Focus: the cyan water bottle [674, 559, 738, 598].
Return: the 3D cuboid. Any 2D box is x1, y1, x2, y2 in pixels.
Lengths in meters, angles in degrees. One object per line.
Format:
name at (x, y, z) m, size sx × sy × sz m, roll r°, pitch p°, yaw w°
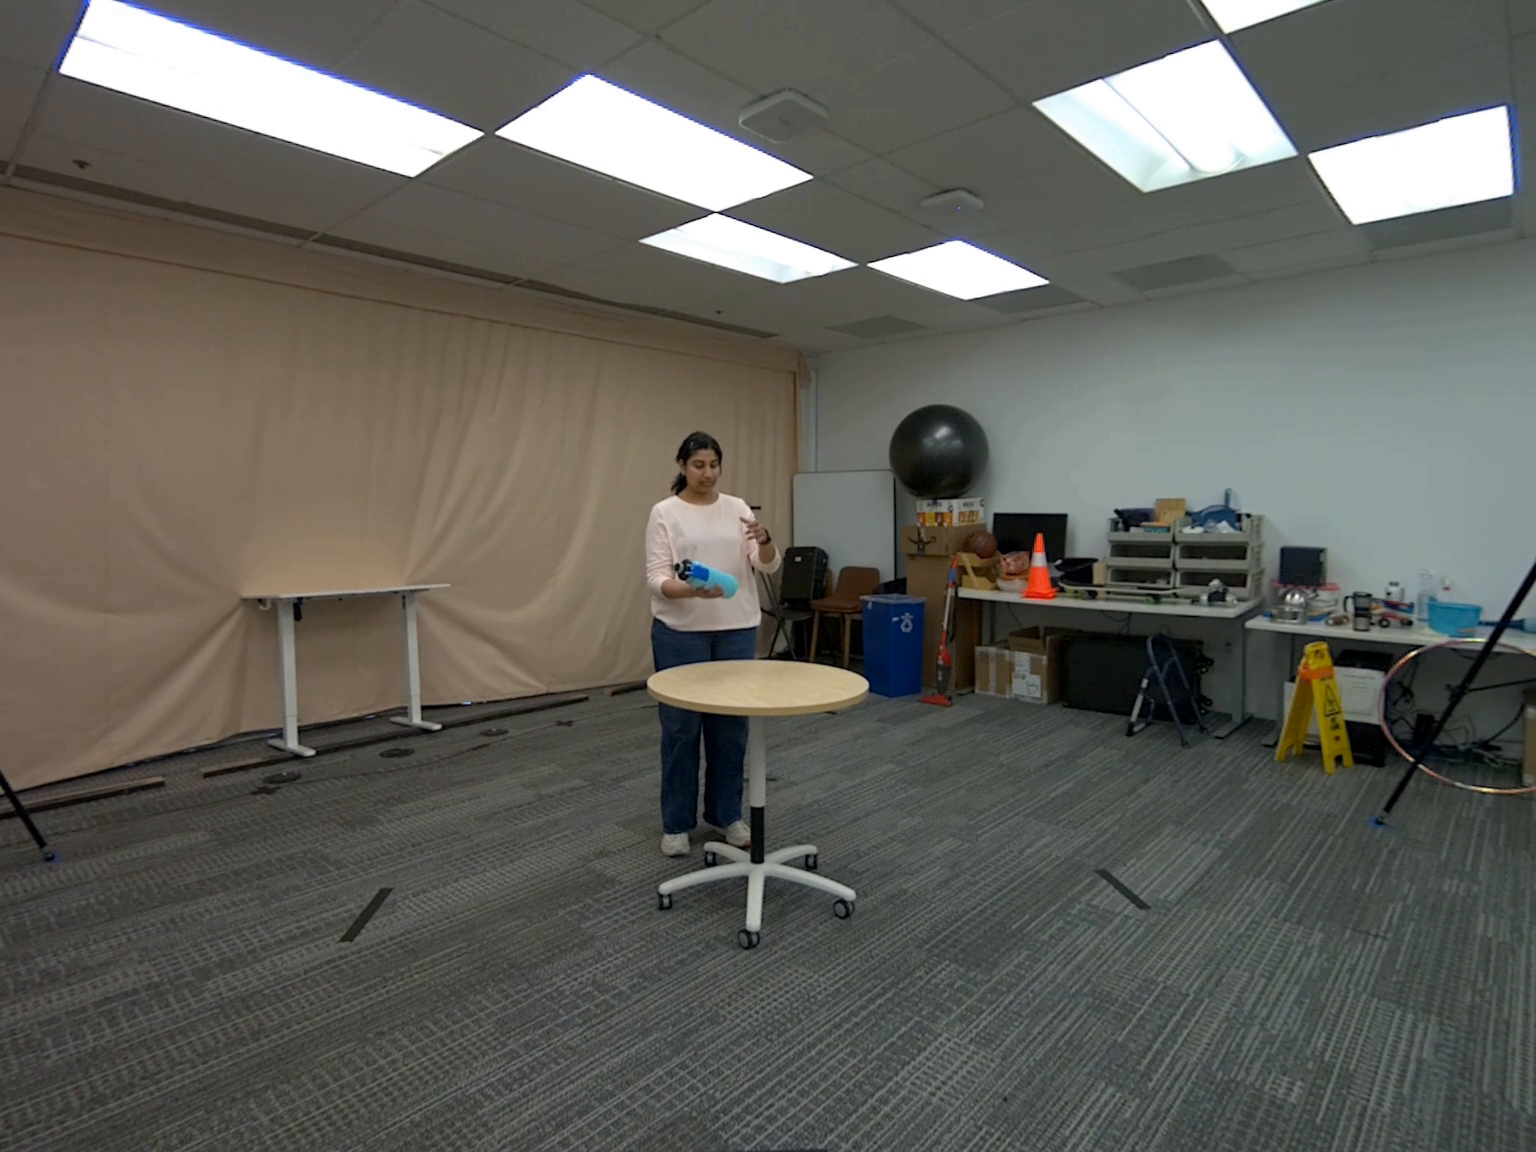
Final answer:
cyan water bottle at (-0.224, 0.002, 3.058) m, size 0.095 × 0.093 × 0.273 m, roll 3°, pitch -14°, yaw 37°
